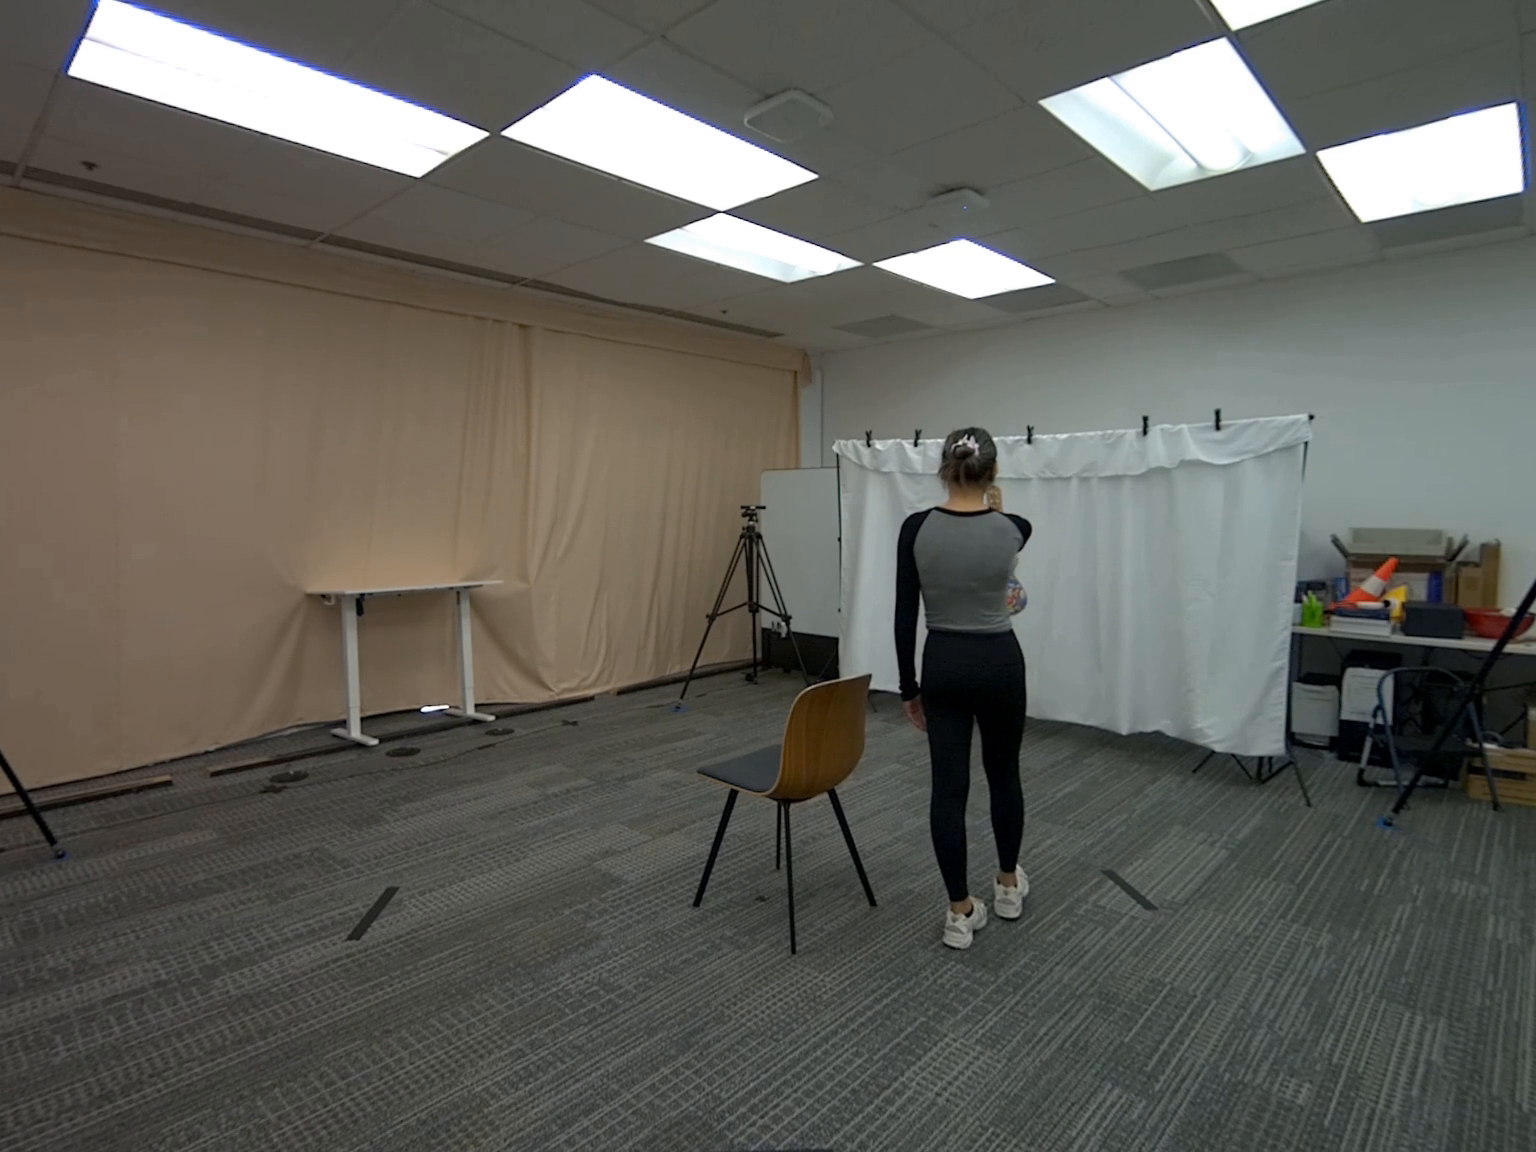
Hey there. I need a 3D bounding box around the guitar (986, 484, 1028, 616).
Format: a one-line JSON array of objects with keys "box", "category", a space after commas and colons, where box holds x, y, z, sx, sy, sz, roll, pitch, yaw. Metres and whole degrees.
[{"box": [0.905, -0.091, 3.210, 0.196, 0.500, 0.069, 5, -10, 12], "category": "guitar"}]
